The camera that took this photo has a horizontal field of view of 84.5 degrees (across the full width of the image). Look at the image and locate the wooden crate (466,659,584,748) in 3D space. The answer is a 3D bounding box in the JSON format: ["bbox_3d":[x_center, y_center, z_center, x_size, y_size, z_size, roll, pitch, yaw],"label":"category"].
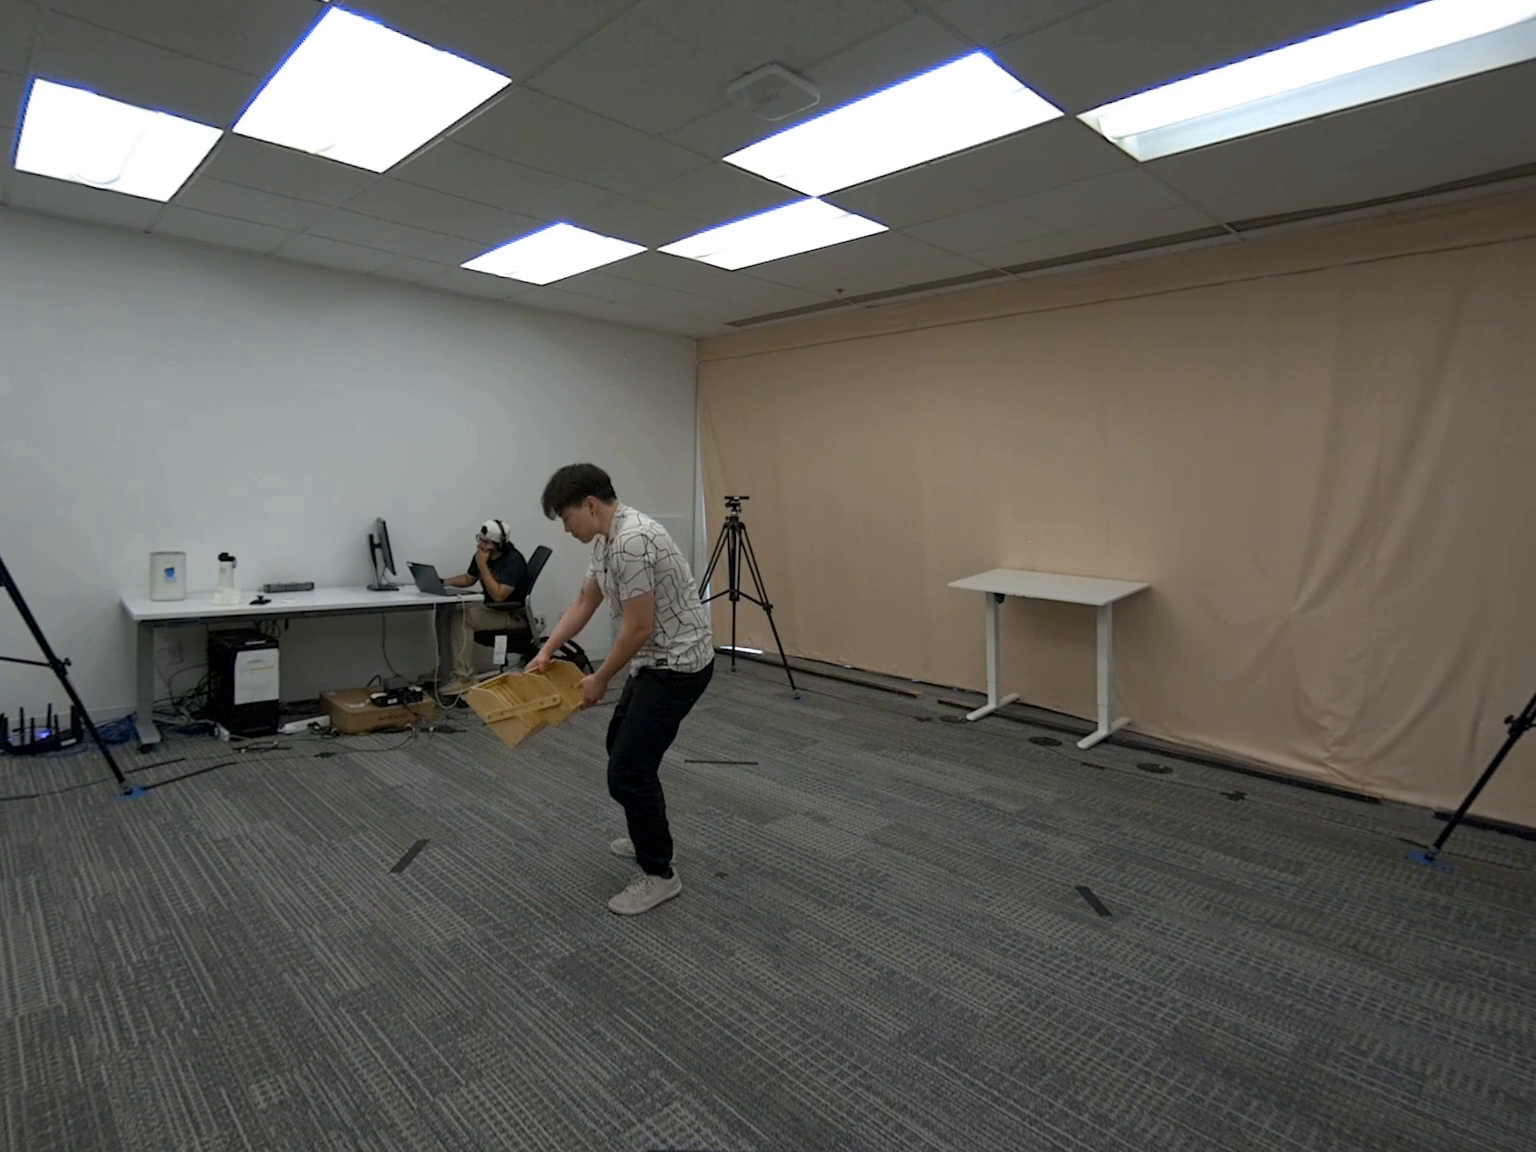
[{"bbox_3d":[-0.829,0.419,2.981,0.303,0.273,0.323,46,6,3],"label":"wooden crate"}]
